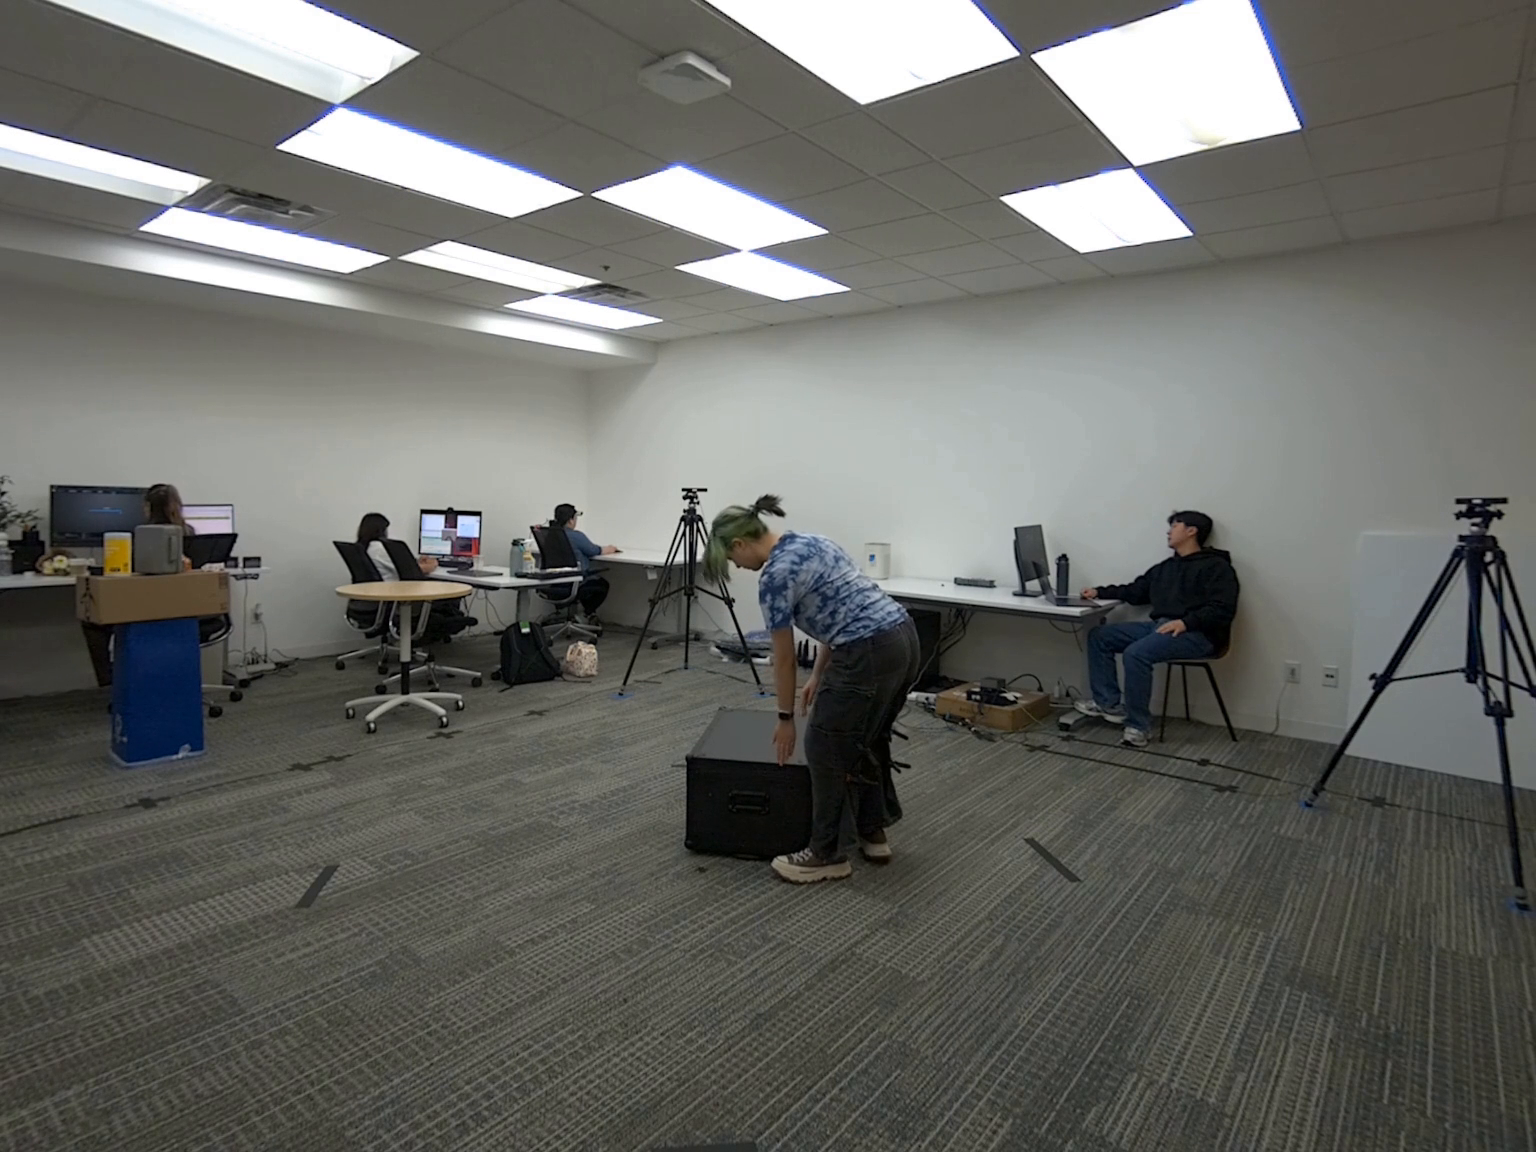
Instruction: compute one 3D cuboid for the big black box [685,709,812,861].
[{"bbox_3d":[-0.038,0.828,3.593,0.526,0.394,0.857,1,6,7],"label":"big black box"}]
